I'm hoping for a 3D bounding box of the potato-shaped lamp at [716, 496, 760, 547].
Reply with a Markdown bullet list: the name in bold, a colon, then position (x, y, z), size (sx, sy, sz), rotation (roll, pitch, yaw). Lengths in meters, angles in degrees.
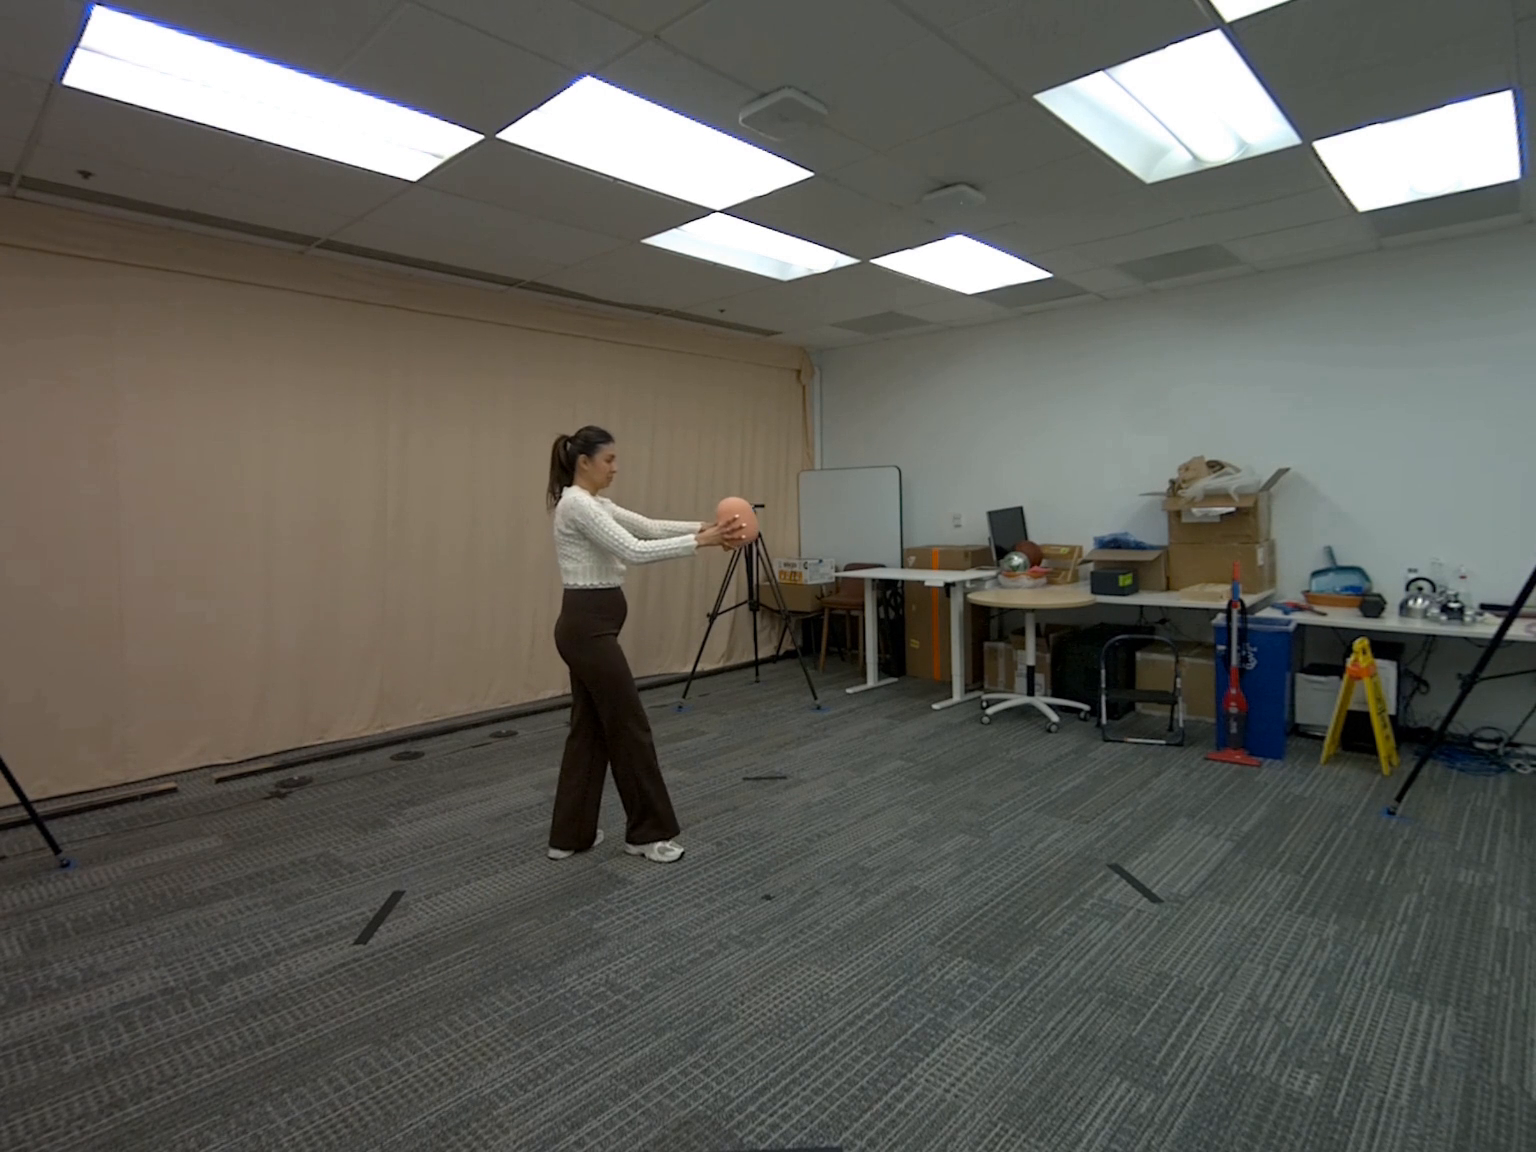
- **potato-shaped lamp**: position (-0.125, -0.219, 3.296), size (0.177, 0.196, 0.161), rotation (4, 17, 34)
